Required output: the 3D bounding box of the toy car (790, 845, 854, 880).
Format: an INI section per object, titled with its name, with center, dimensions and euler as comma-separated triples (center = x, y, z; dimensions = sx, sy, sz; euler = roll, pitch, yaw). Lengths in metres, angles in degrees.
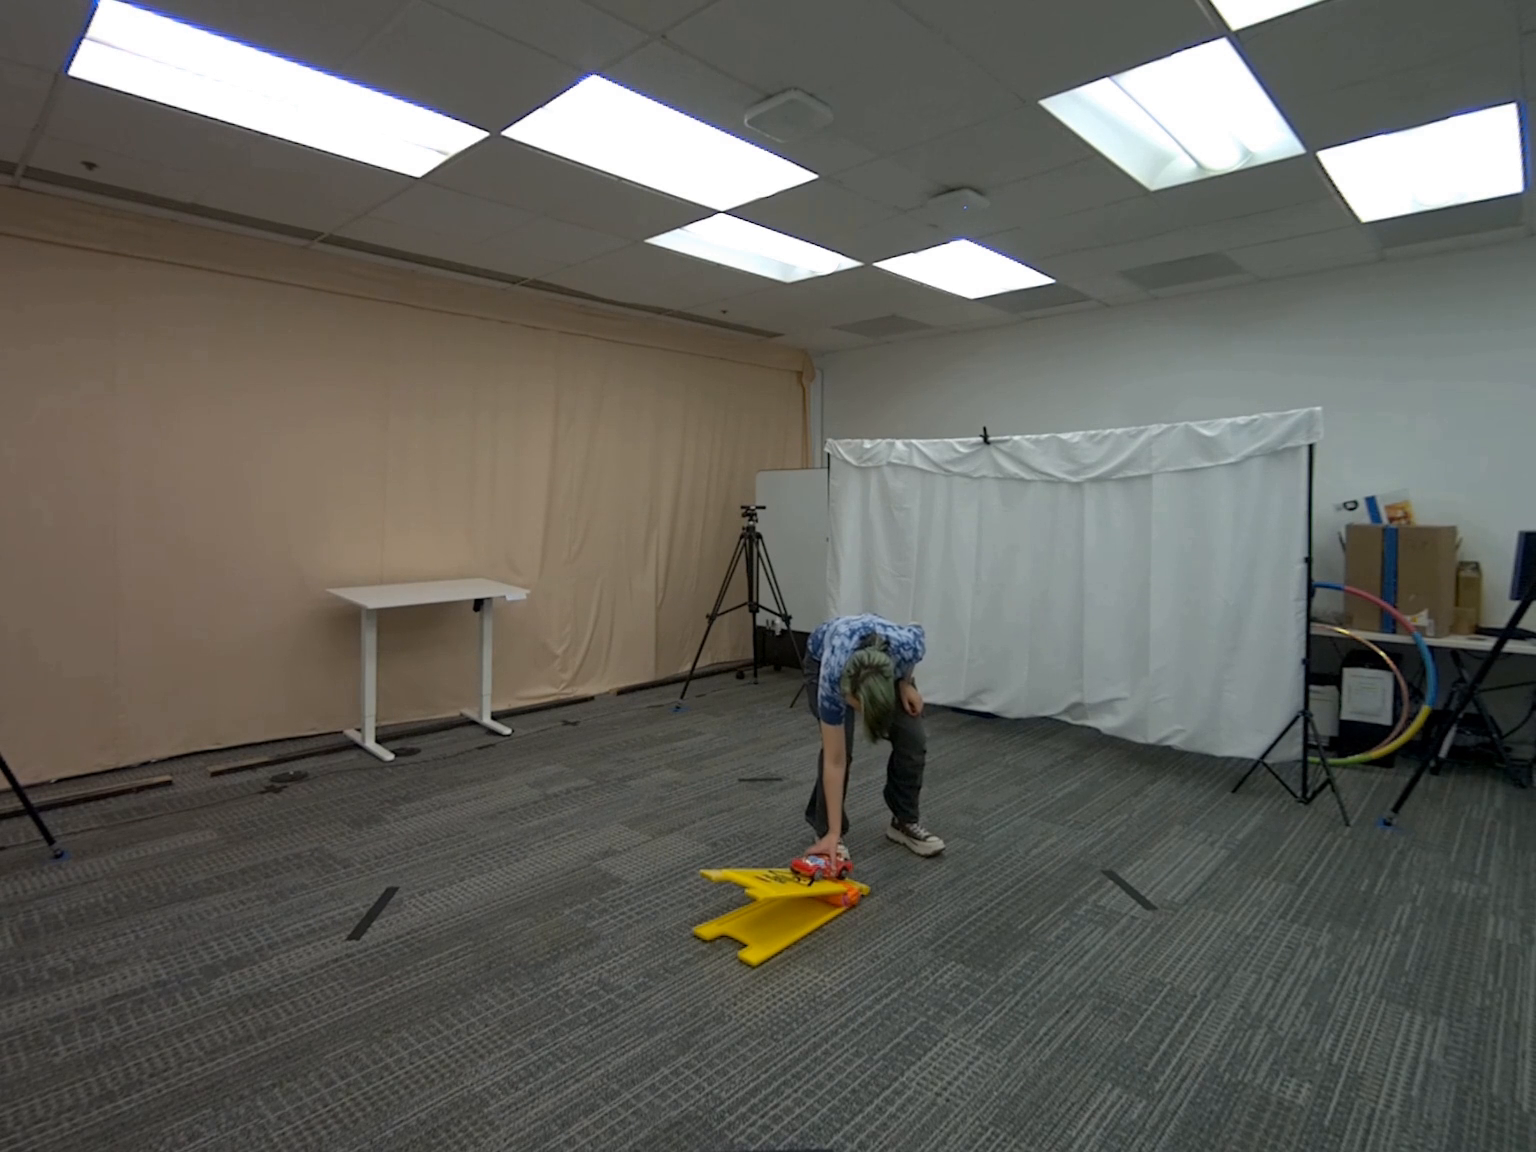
[toy car]
center = 0.198, 1.031, 2.968
dimensions = 0.246, 0.083, 0.134
euler = 4, -1, -44
